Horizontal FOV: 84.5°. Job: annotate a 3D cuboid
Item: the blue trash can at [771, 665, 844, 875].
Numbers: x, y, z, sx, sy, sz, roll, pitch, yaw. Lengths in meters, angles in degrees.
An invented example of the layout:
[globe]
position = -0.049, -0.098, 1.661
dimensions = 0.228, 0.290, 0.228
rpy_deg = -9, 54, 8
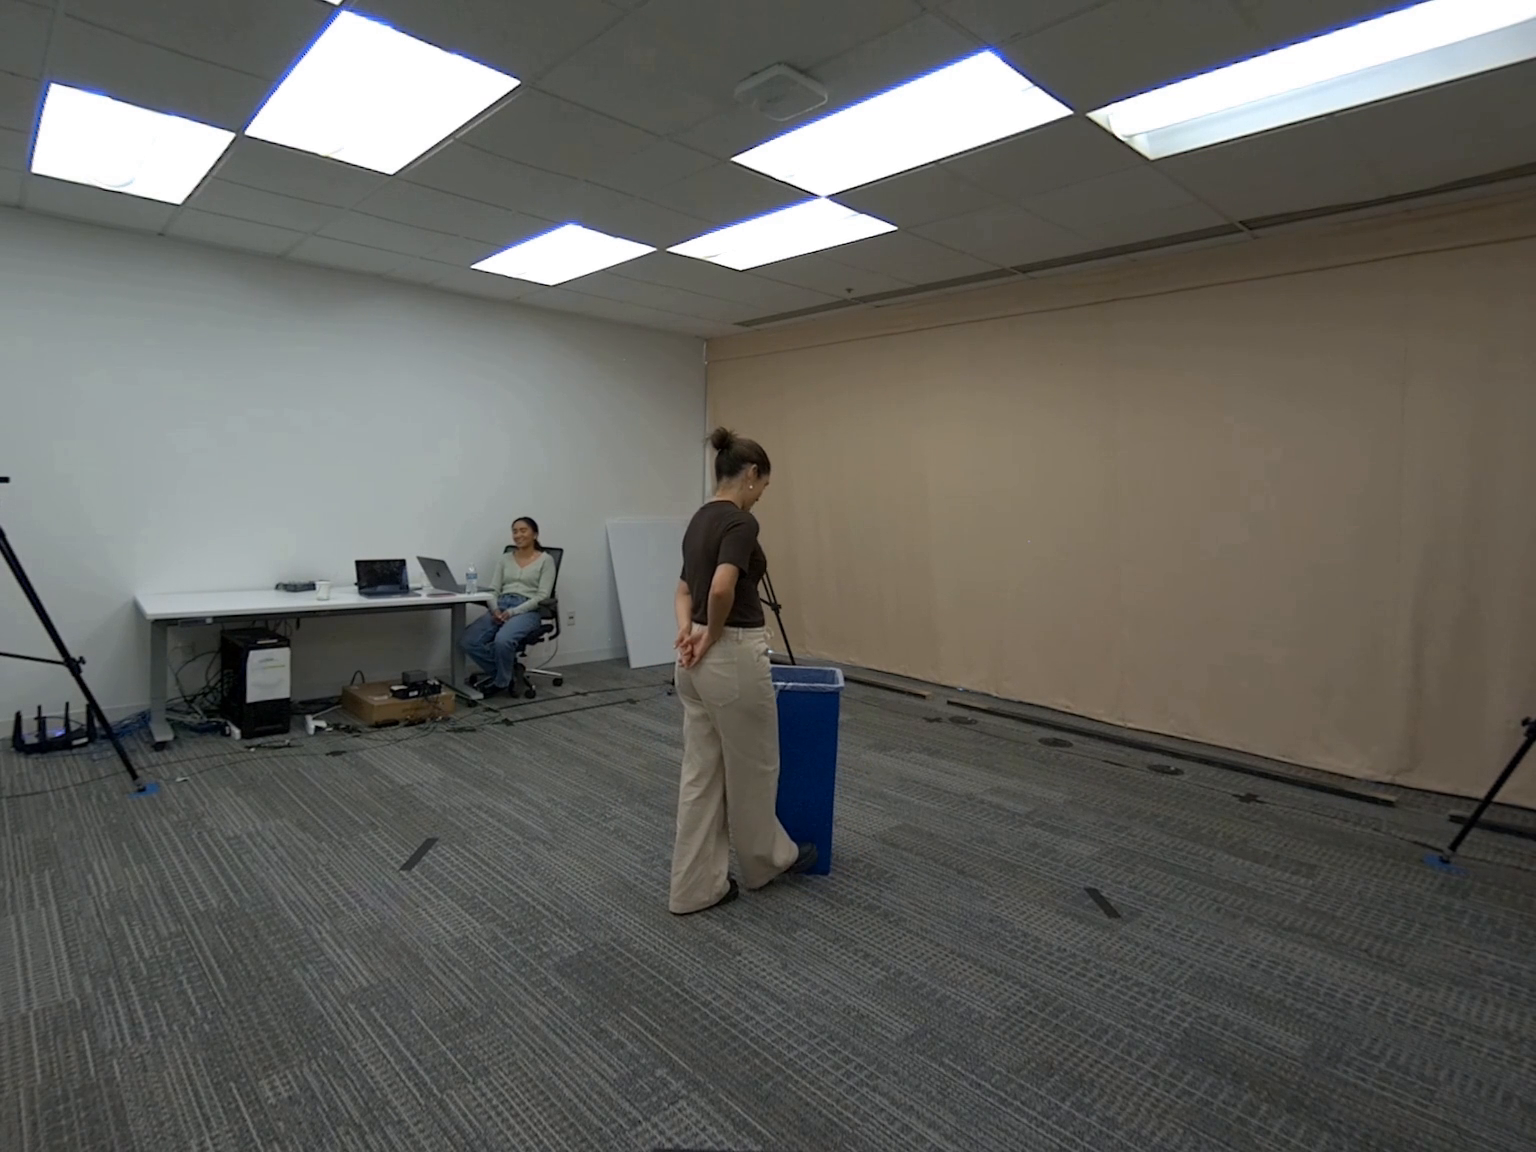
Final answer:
[blue trash can]
position = 0.098, 0.736, 3.269
dimensions = 0.375, 0.712, 0.377
rpy_deg = 1, 2, 3
